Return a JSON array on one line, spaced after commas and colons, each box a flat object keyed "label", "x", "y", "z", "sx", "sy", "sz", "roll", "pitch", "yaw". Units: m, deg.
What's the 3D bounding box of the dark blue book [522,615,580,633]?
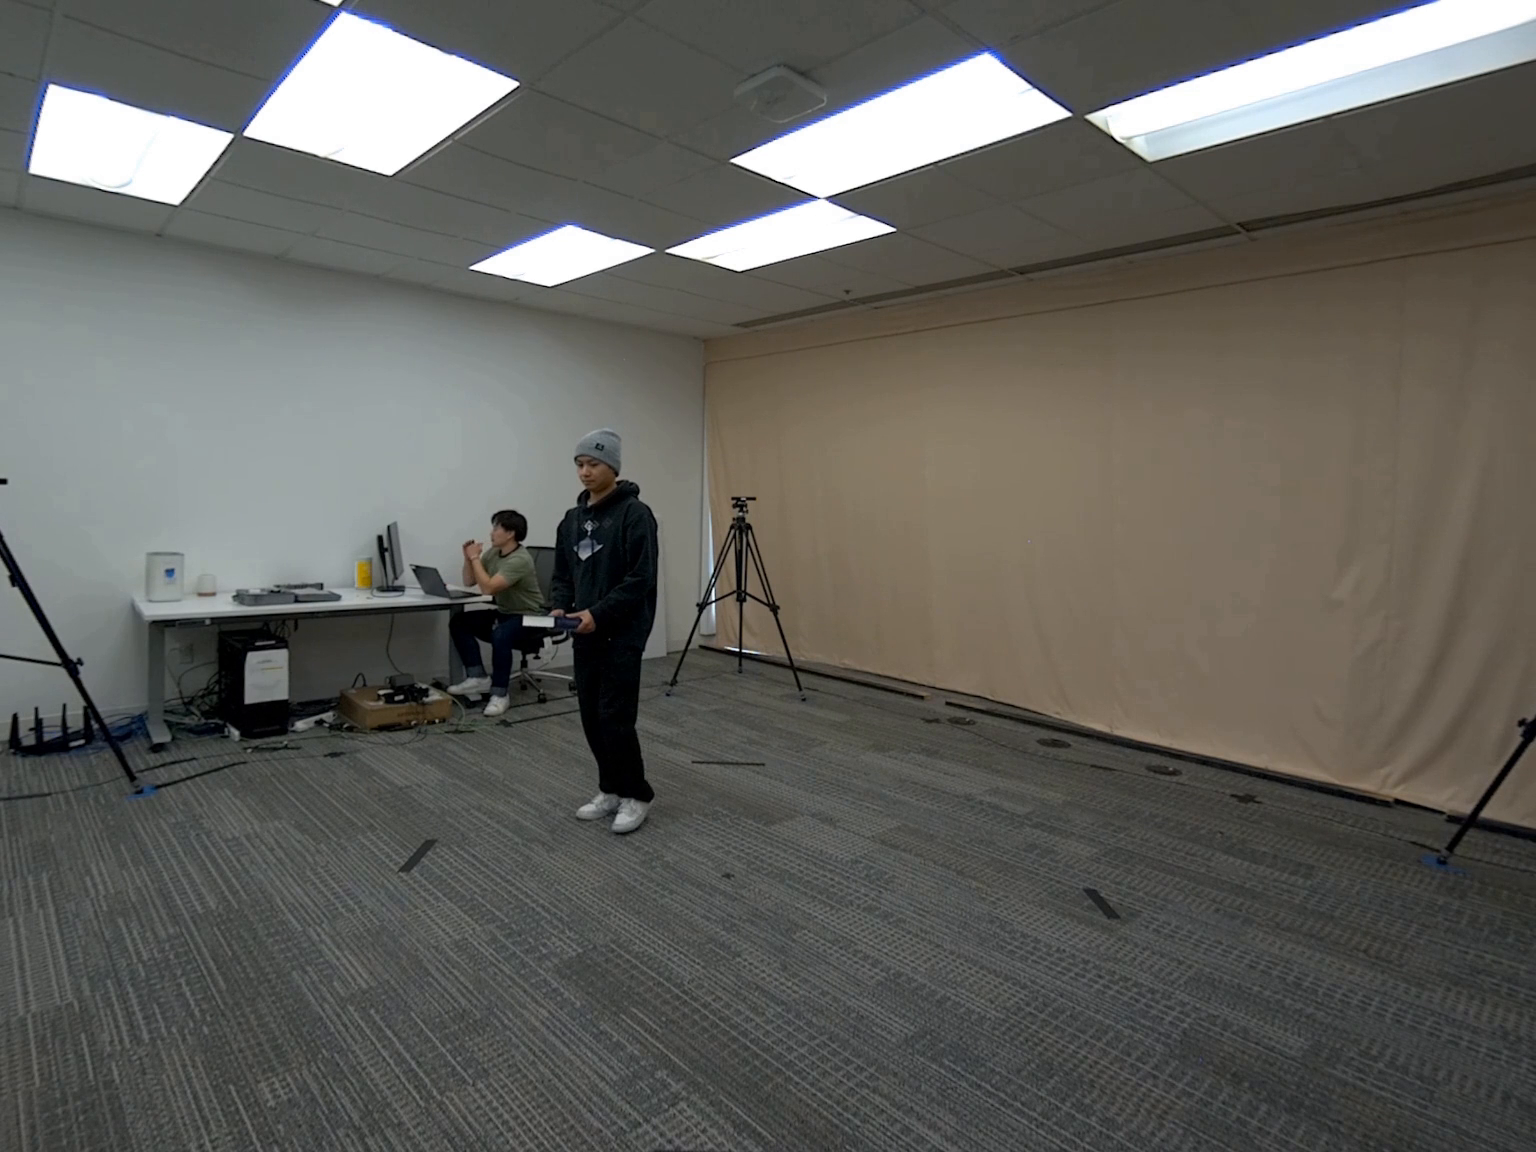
[{"label": "dark blue book", "x": -0.896, "y": 0.186, "z": 3.373, "sx": 0.166, "sy": 0.045, "sz": 0.240, "roll": 3, "pitch": -3, "yaw": 20}]
